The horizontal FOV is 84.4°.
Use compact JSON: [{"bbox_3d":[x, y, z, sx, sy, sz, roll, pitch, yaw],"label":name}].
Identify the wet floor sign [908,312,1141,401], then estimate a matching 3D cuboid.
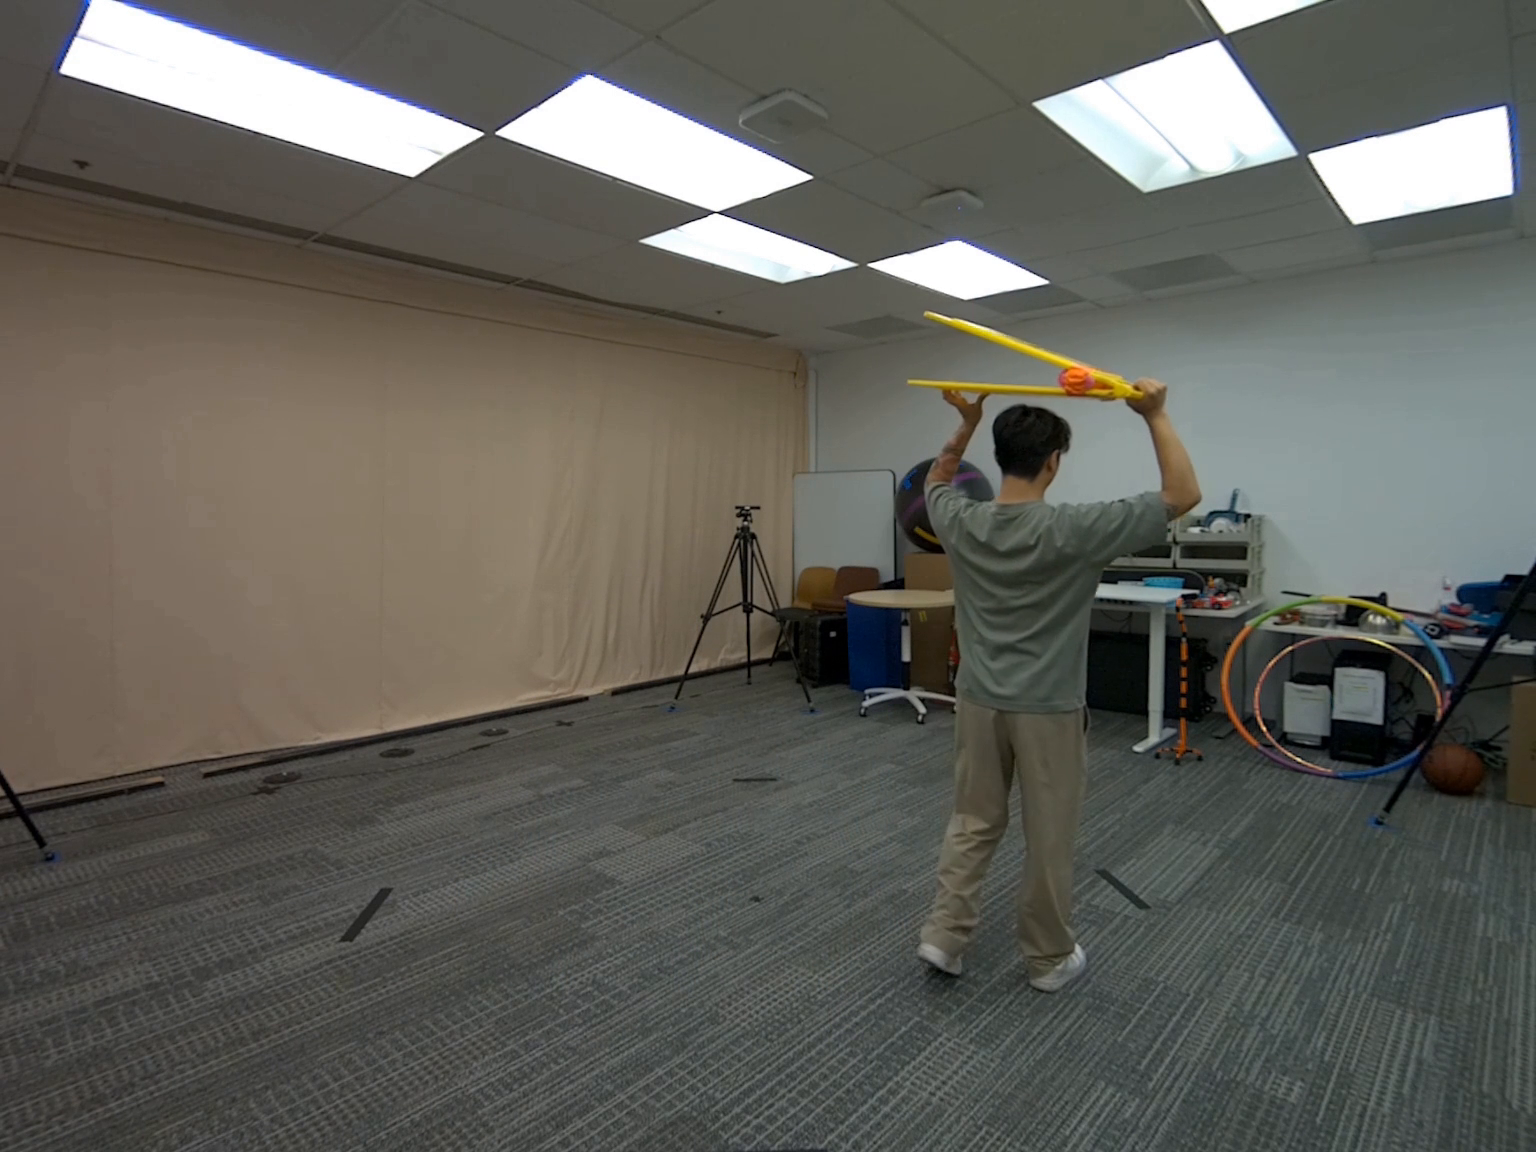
[{"bbox_3d":[0.789,-0.593,2.442,0.274,0.288,0.670,-6,24,-46],"label":"wet floor sign"}]
